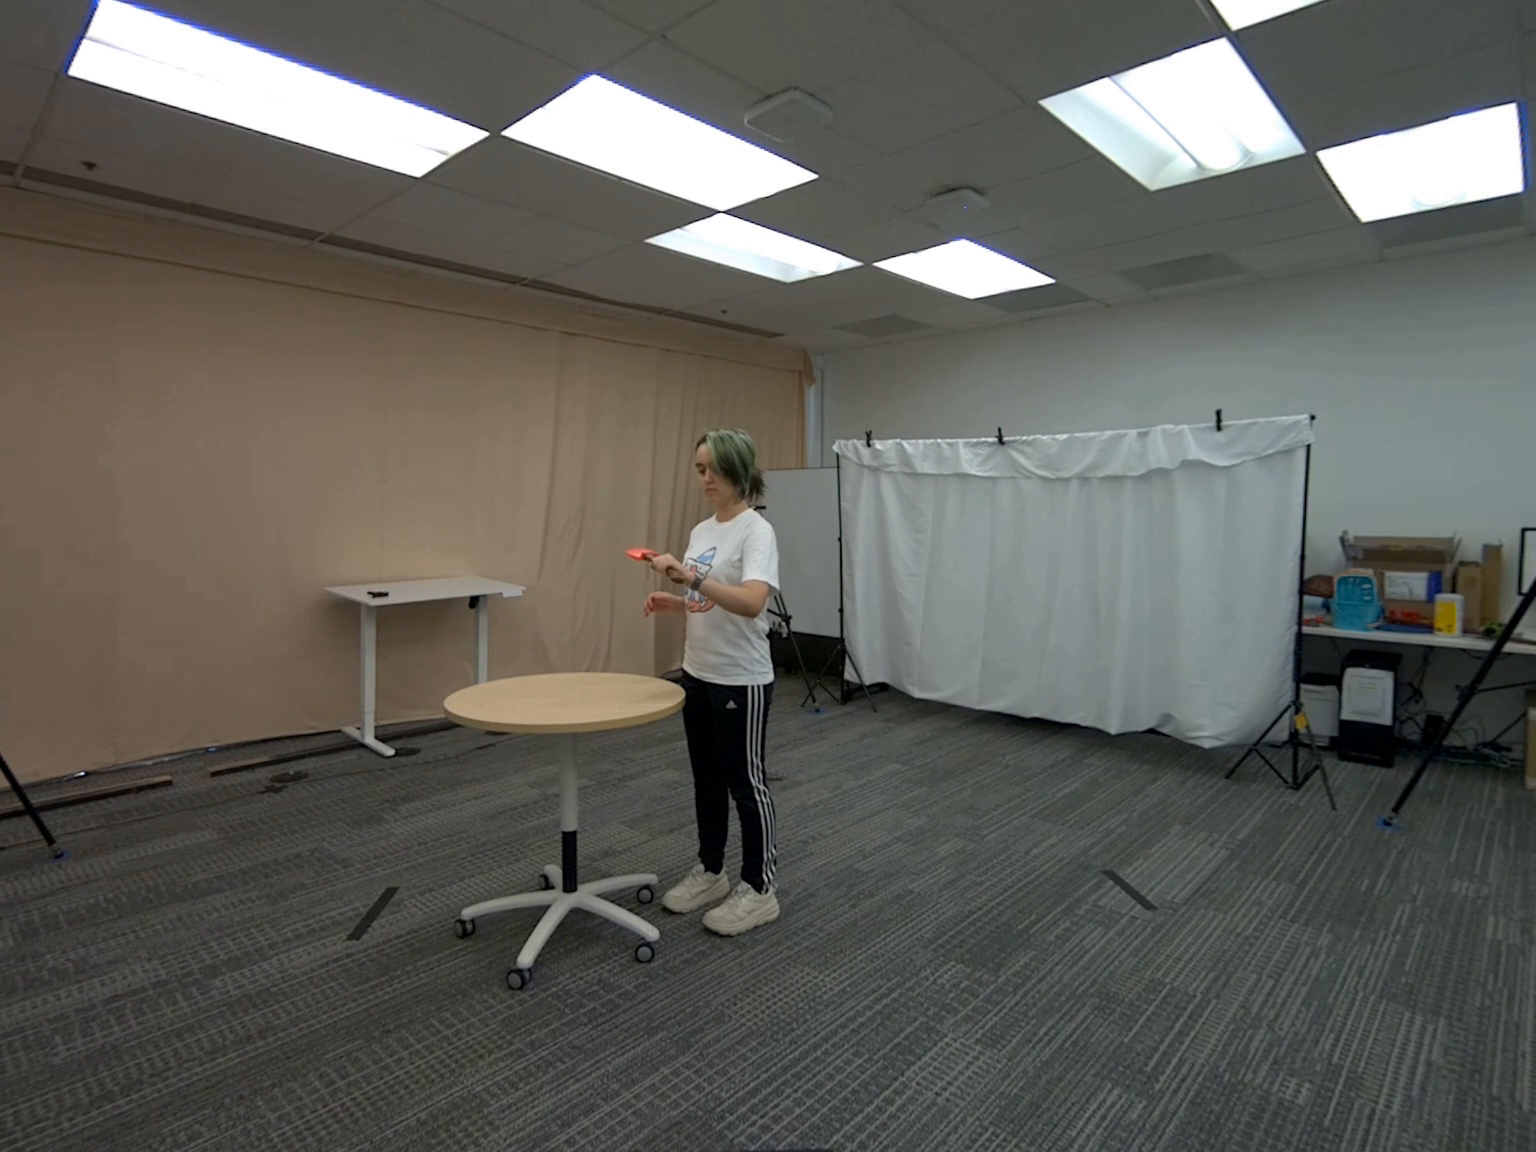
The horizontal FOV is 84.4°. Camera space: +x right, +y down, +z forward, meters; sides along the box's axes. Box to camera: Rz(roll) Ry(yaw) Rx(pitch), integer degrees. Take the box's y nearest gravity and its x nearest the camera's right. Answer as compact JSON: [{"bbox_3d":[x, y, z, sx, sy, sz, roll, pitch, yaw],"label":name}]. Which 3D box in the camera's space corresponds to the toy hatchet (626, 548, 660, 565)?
[{"bbox_3d":[-0.325,-0.035,2.485,0.128,0.029,0.278,11,11,-25],"label":"toy hatchet"}]
